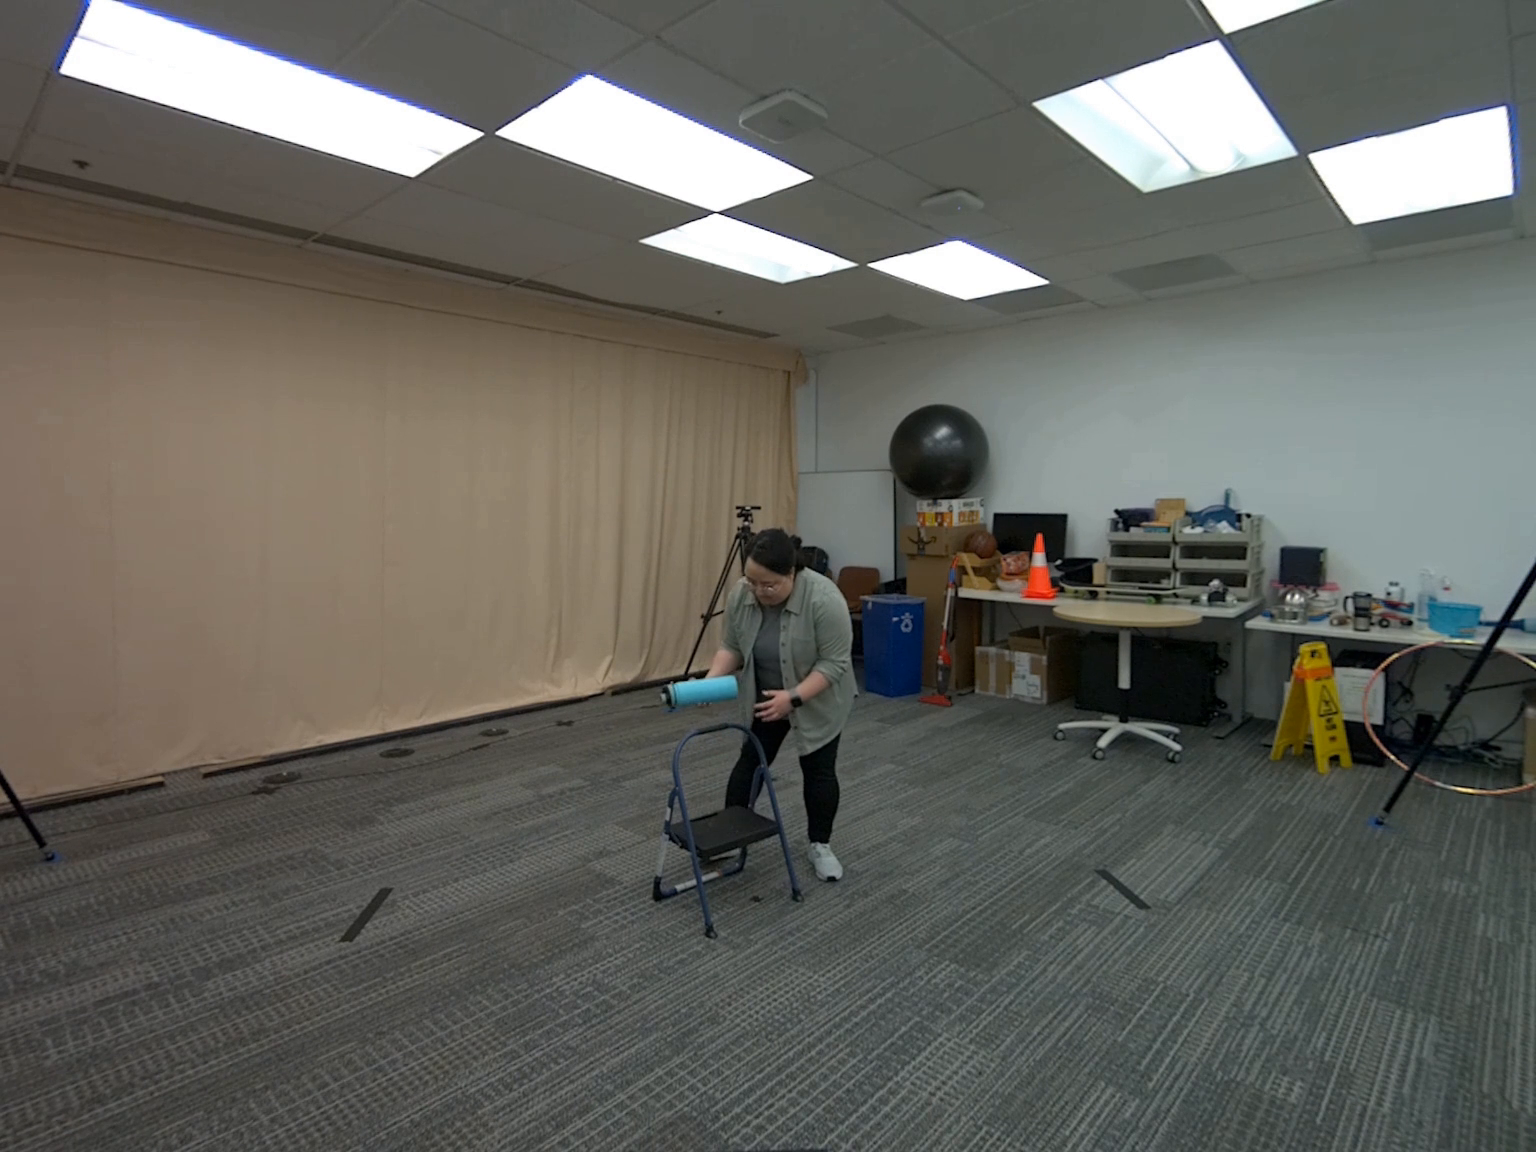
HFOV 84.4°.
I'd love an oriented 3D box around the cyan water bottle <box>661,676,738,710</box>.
[{"bbox_3d":[-0.247,0.444,3.088,0.281,0.092,0.093,-5,5,-9],"label":"cyan water bottle"}]
